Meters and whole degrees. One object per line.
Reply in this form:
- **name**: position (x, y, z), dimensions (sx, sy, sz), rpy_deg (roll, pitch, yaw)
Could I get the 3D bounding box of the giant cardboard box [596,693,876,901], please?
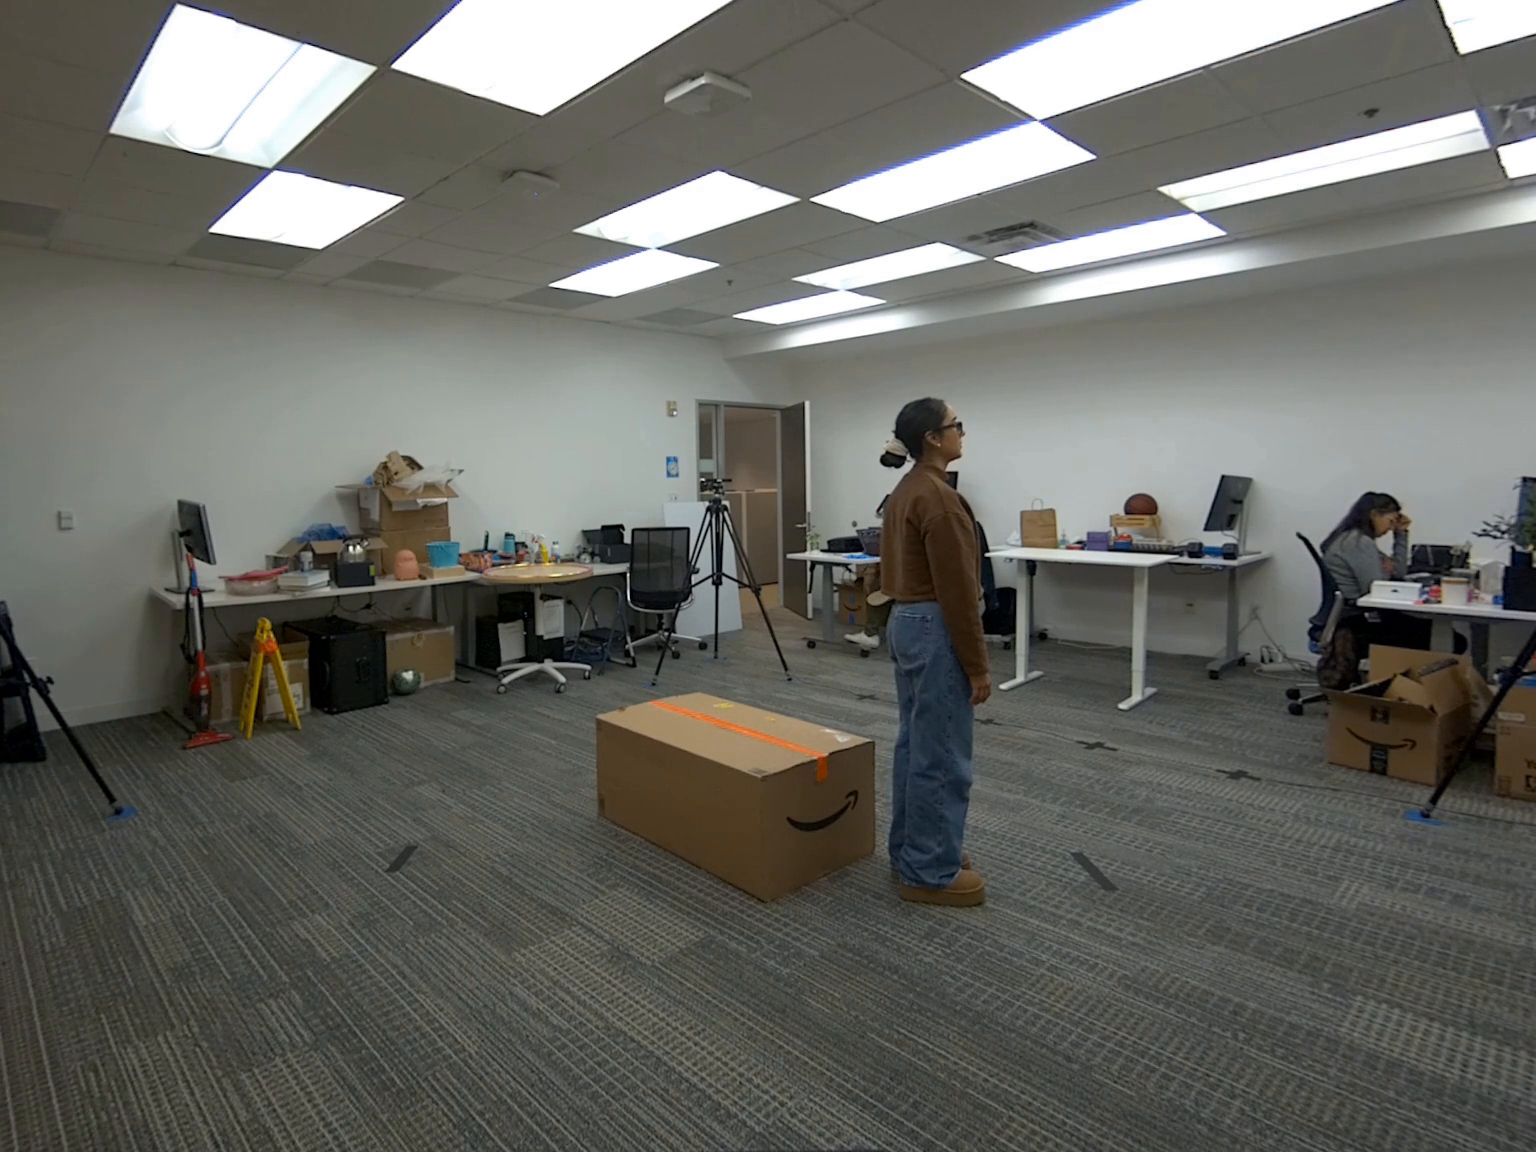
- **giant cardboard box**: position (-0.161, 0.807, 3.371), dimensions (0.569, 0.444, 1.059), rpy_deg (-7, 9, -42)
